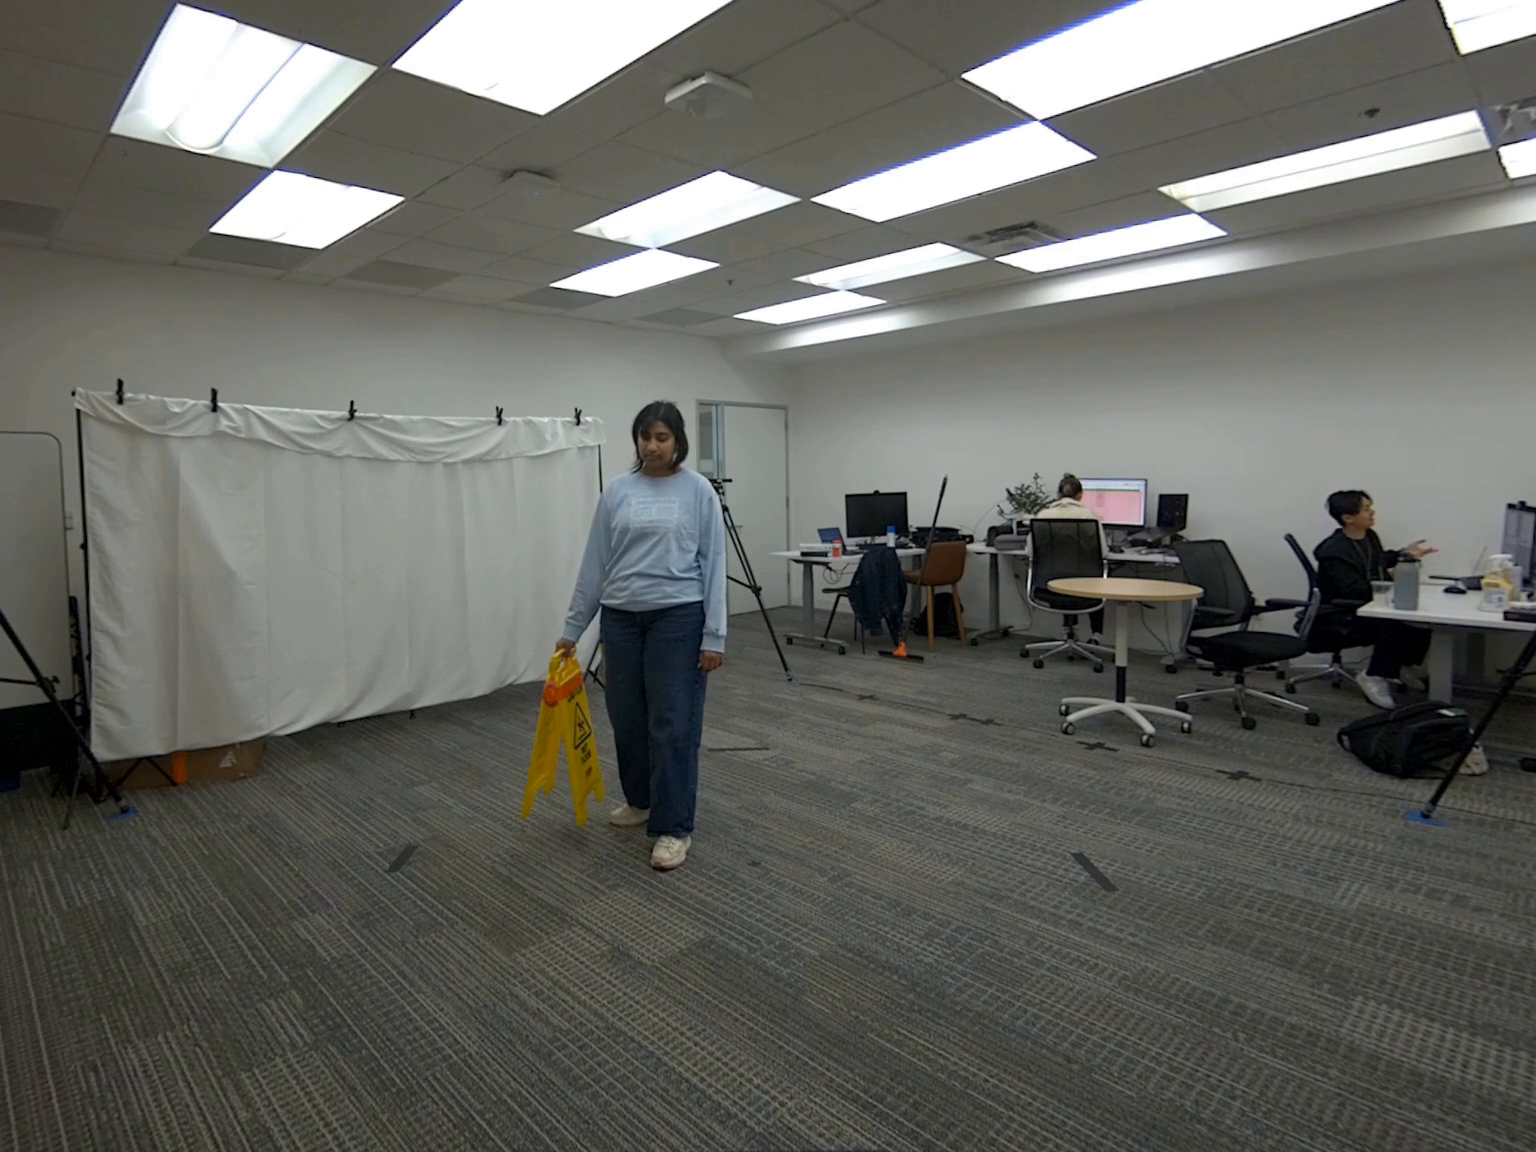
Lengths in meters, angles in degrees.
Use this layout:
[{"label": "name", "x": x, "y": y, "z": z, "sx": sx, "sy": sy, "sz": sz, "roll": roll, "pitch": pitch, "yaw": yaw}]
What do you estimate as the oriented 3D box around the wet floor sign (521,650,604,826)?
[{"label": "wet floor sign", "x": -0.792, "y": 0.600, "z": 3.314, "sx": 0.293, "sy": 0.641, "sz": 0.281, "roll": 3, "pitch": 9, "yaw": 10}]
